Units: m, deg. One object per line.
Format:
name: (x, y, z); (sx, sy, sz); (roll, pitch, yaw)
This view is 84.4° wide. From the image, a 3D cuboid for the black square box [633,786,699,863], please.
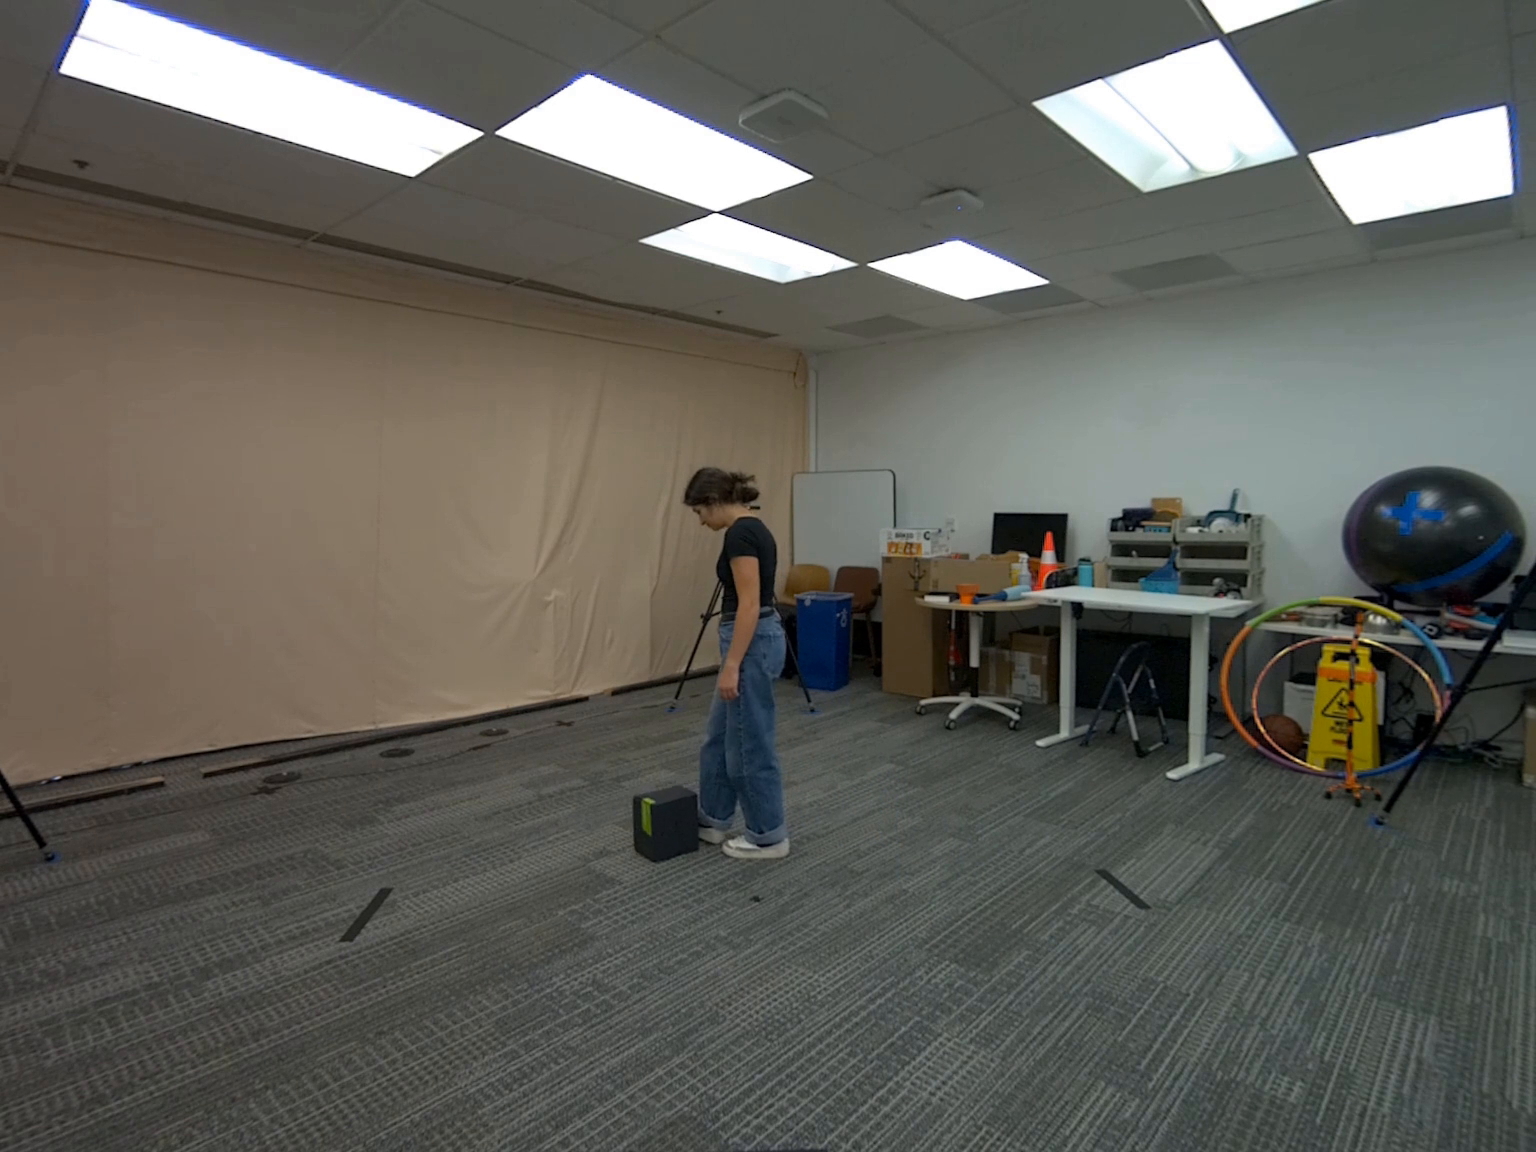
black square box: (-0.409, 0.995, 3.405); (0.211, 0.227, 0.161); (-4, 4, -36)
